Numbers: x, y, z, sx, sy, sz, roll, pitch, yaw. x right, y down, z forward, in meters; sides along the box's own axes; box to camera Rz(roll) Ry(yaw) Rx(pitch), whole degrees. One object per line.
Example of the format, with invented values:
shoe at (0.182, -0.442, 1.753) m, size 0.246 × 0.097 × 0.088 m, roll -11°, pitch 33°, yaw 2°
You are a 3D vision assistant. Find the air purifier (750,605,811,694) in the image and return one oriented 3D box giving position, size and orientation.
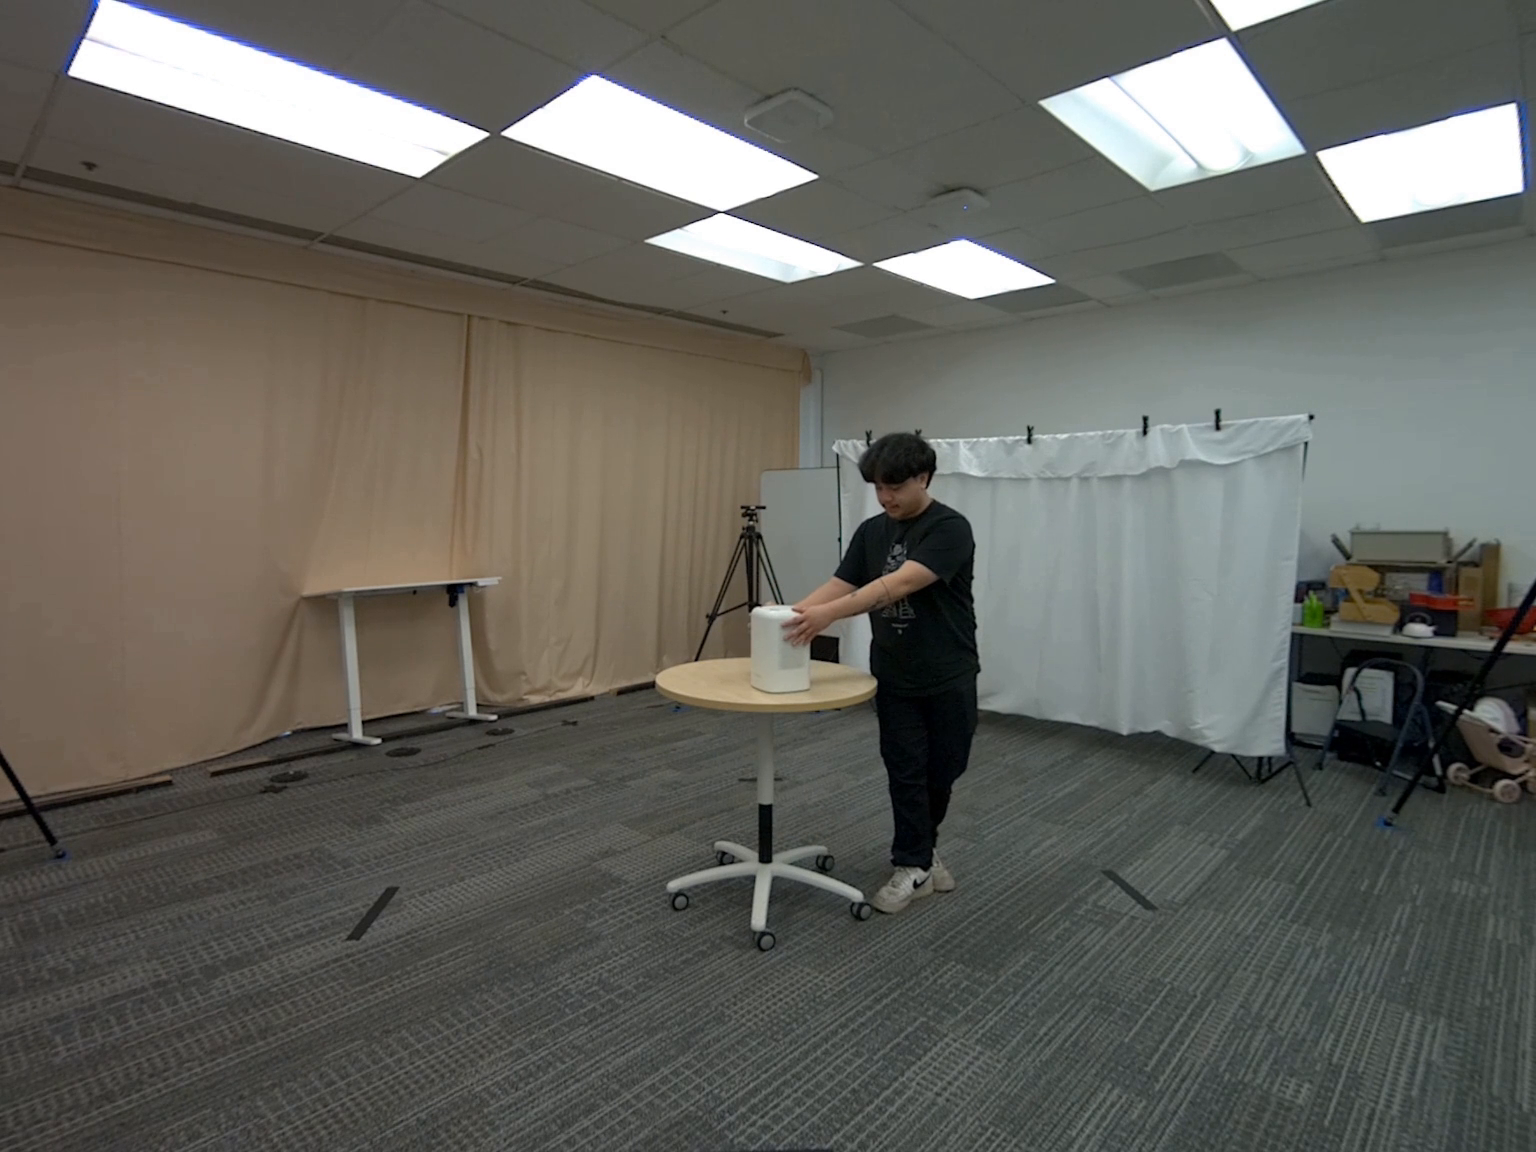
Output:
air purifier at (0.044, 0.236, 2.771) m, size 0.167 × 0.265 × 0.176 m, roll 1°, pitch 3°, yaw -26°
